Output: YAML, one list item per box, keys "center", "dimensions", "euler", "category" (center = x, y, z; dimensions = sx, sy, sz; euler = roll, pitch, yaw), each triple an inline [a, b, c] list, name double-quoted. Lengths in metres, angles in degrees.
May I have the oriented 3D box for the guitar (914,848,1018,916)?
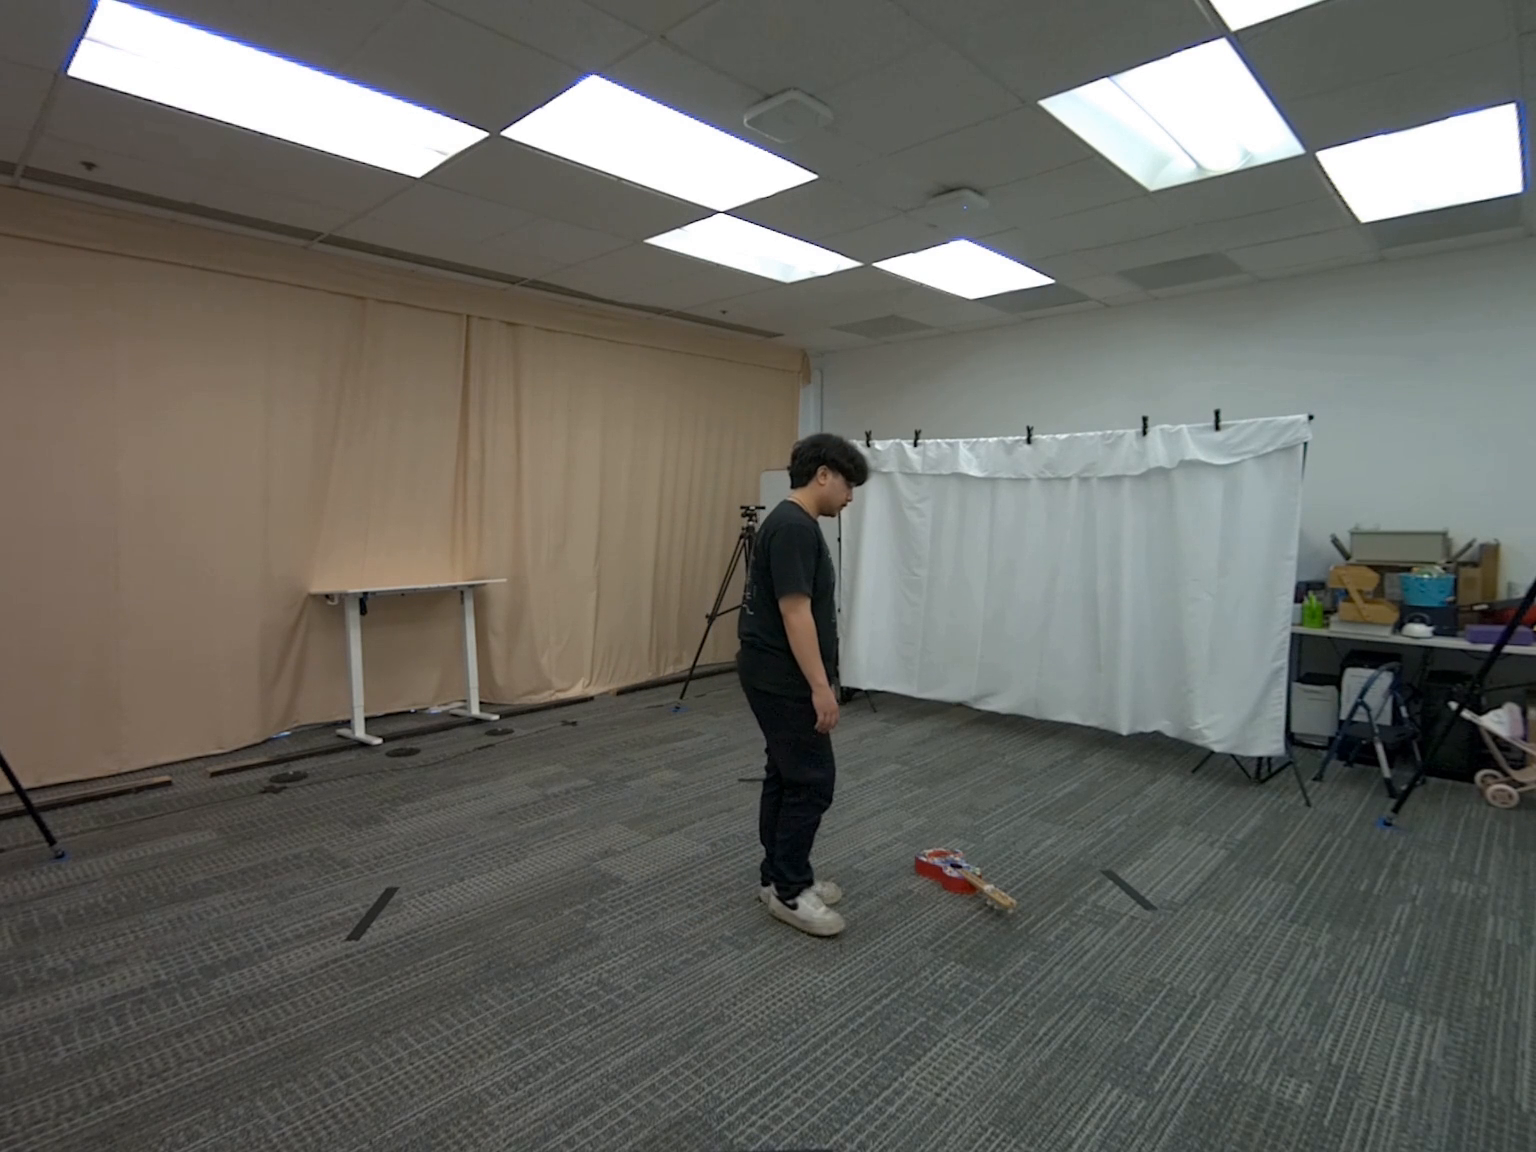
- center: [0.701, 1.101, 3.035]
  dimensions: [0.191, 0.070, 0.504]
  euler: [0, 3, -12]
  category: "guitar"
